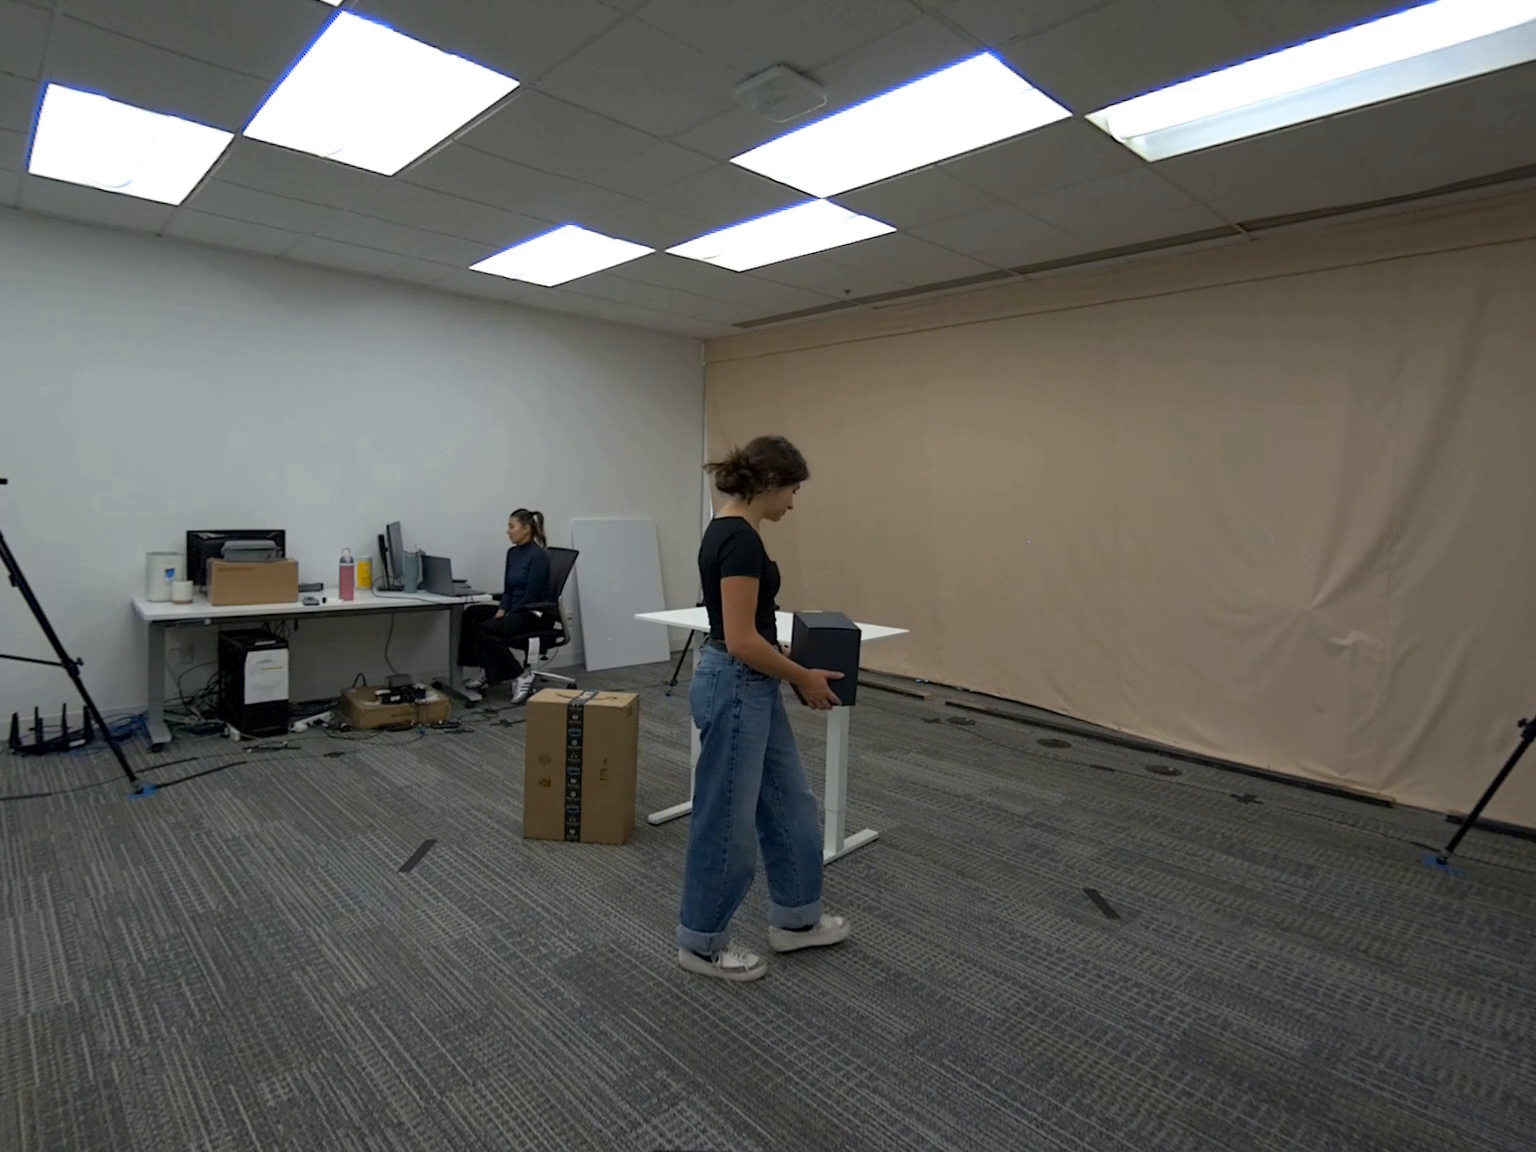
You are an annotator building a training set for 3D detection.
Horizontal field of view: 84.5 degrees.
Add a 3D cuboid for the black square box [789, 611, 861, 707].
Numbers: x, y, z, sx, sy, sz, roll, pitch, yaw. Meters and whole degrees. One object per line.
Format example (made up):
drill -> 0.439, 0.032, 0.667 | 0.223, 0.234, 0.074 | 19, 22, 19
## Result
black square box -> 0.147, 0.235, 2.475 | 0.156, 0.227, 0.218 | 3, 7, -3
